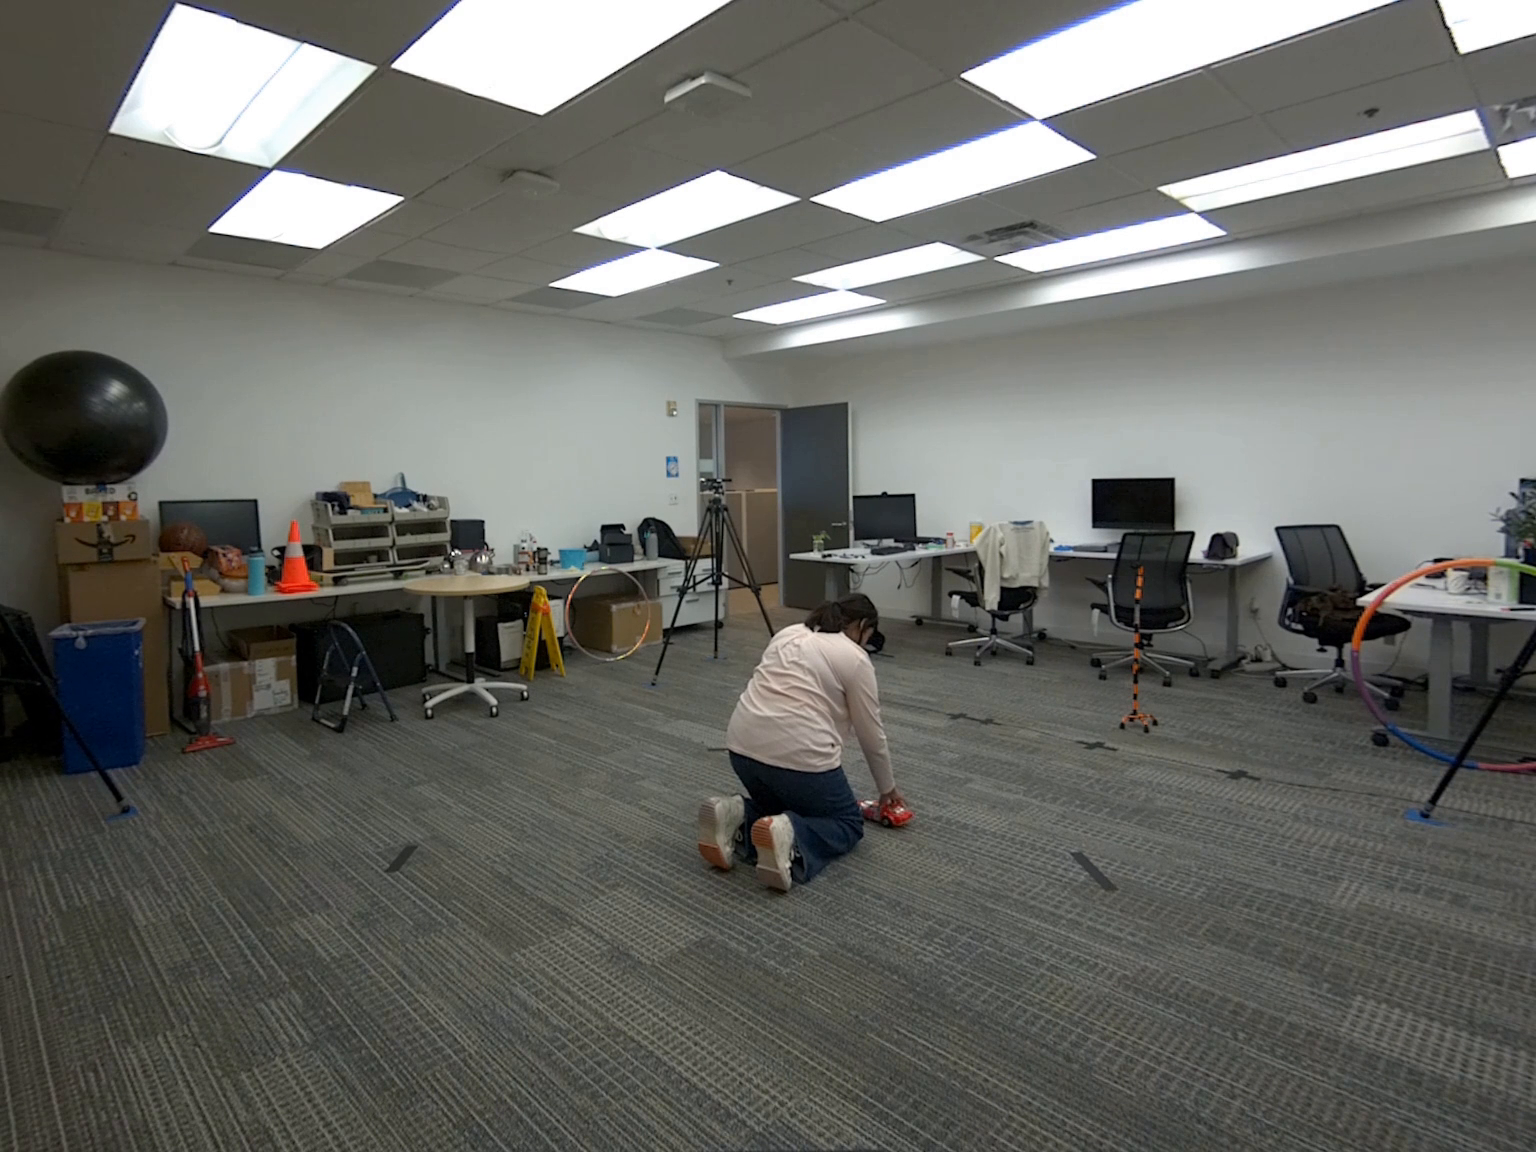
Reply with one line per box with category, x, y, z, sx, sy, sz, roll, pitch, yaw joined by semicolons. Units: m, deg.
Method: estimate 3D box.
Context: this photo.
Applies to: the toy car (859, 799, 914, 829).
toy car;0.466;0.961;3.458;0.127;0.083;0.261;-4;-3;-45
